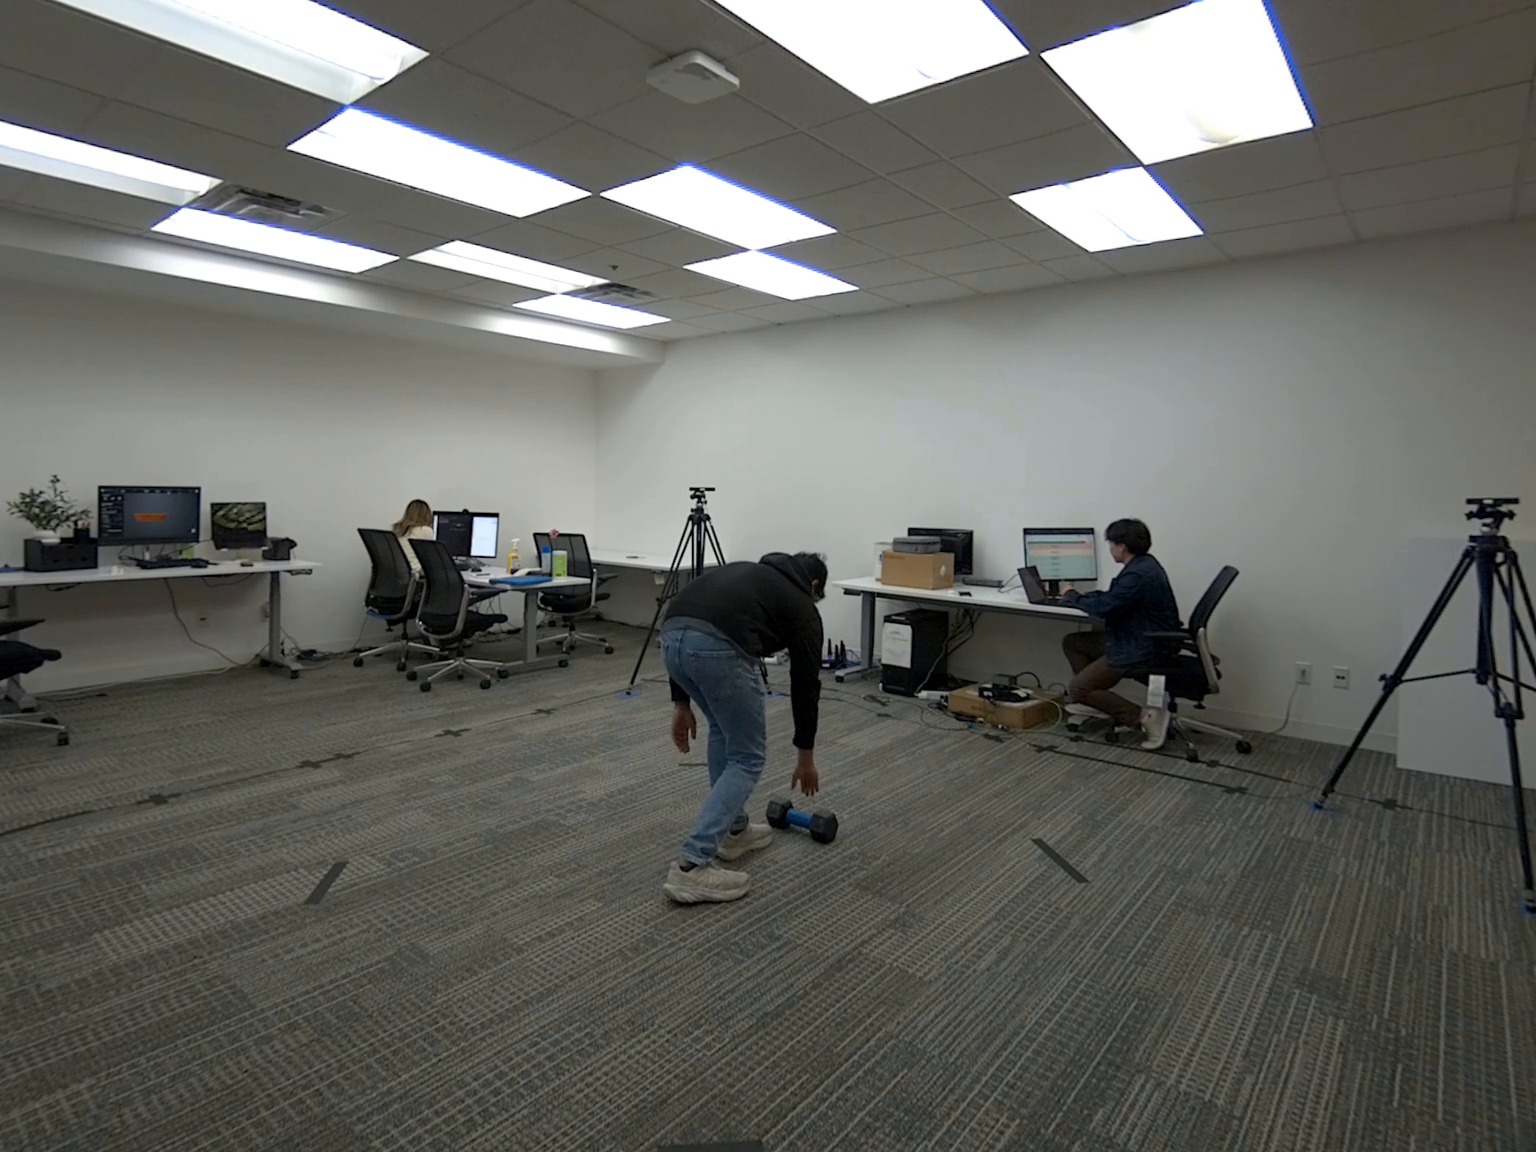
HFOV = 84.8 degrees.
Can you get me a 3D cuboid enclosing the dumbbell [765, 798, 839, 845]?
[{"bbox_3d":[0.127,0.984,3.454,0.303,0.124,0.104,5,-25,38],"label":"dumbbell"}]
